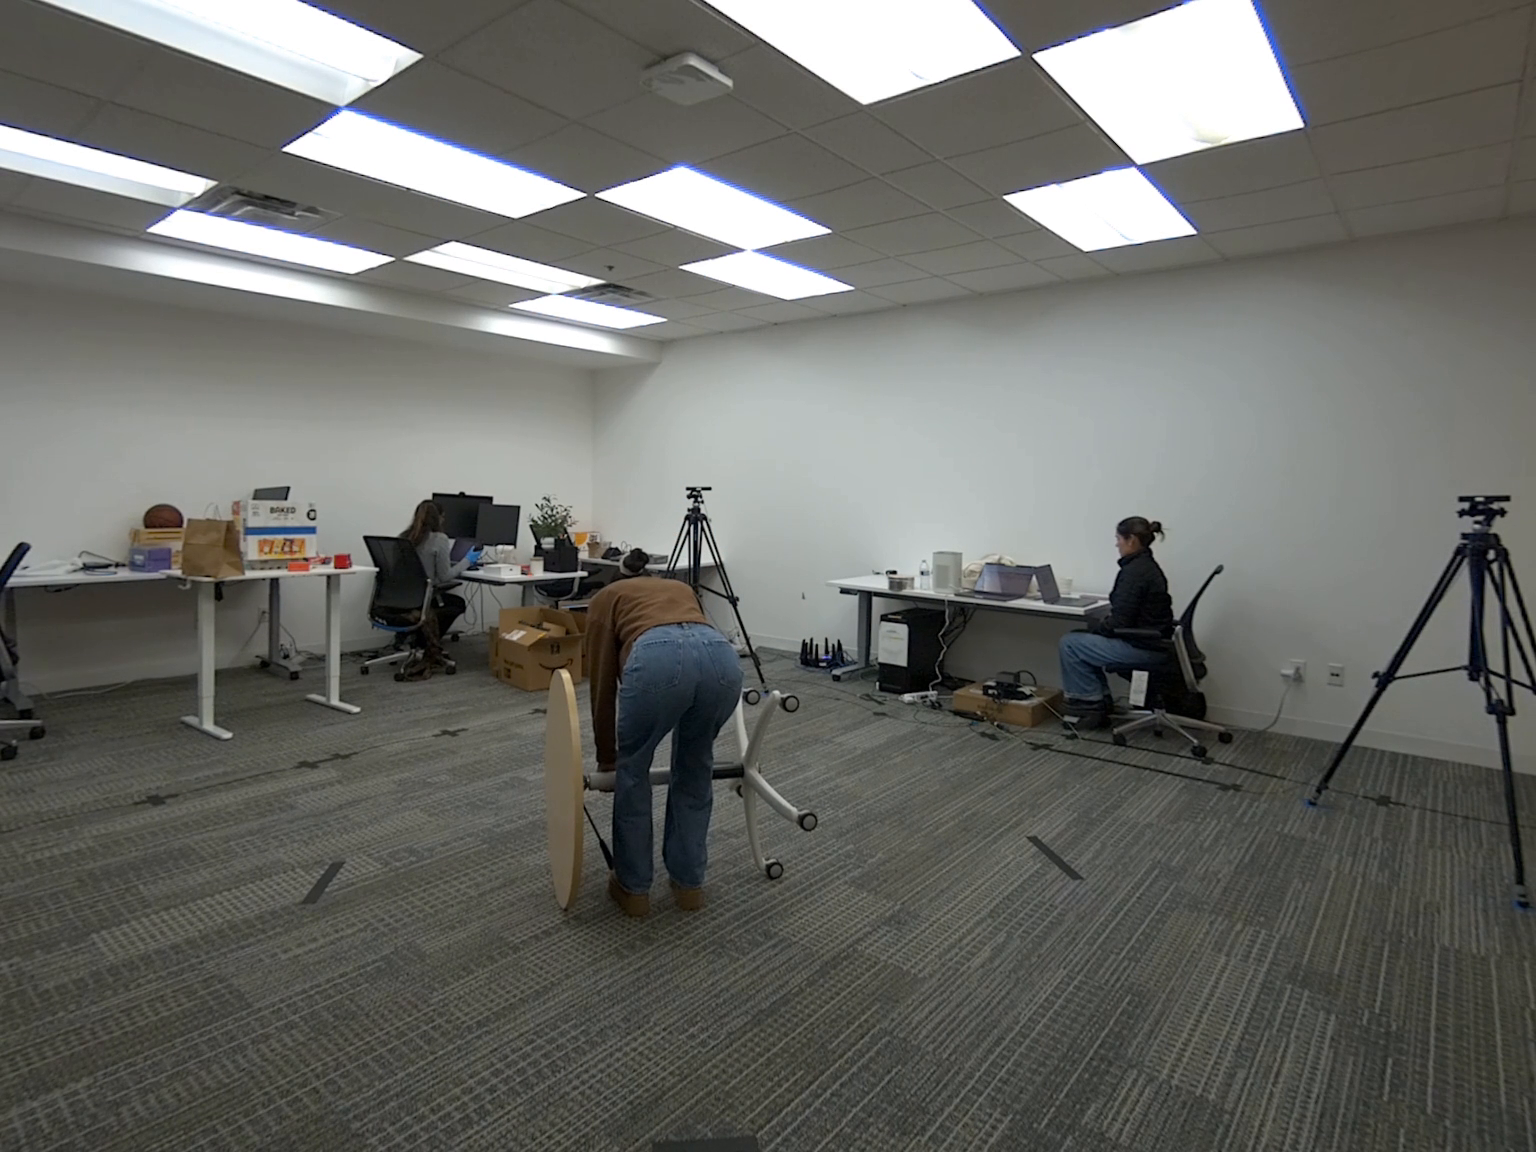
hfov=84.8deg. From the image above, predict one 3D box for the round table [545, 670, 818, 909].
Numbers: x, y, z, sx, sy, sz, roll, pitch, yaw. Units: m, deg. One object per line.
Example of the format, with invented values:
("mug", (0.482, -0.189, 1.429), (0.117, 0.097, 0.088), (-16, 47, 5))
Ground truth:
("round table", (-0.337, 0.710, 2.978), (0.778, 0.762, 0.781), (2, 4, -19))
